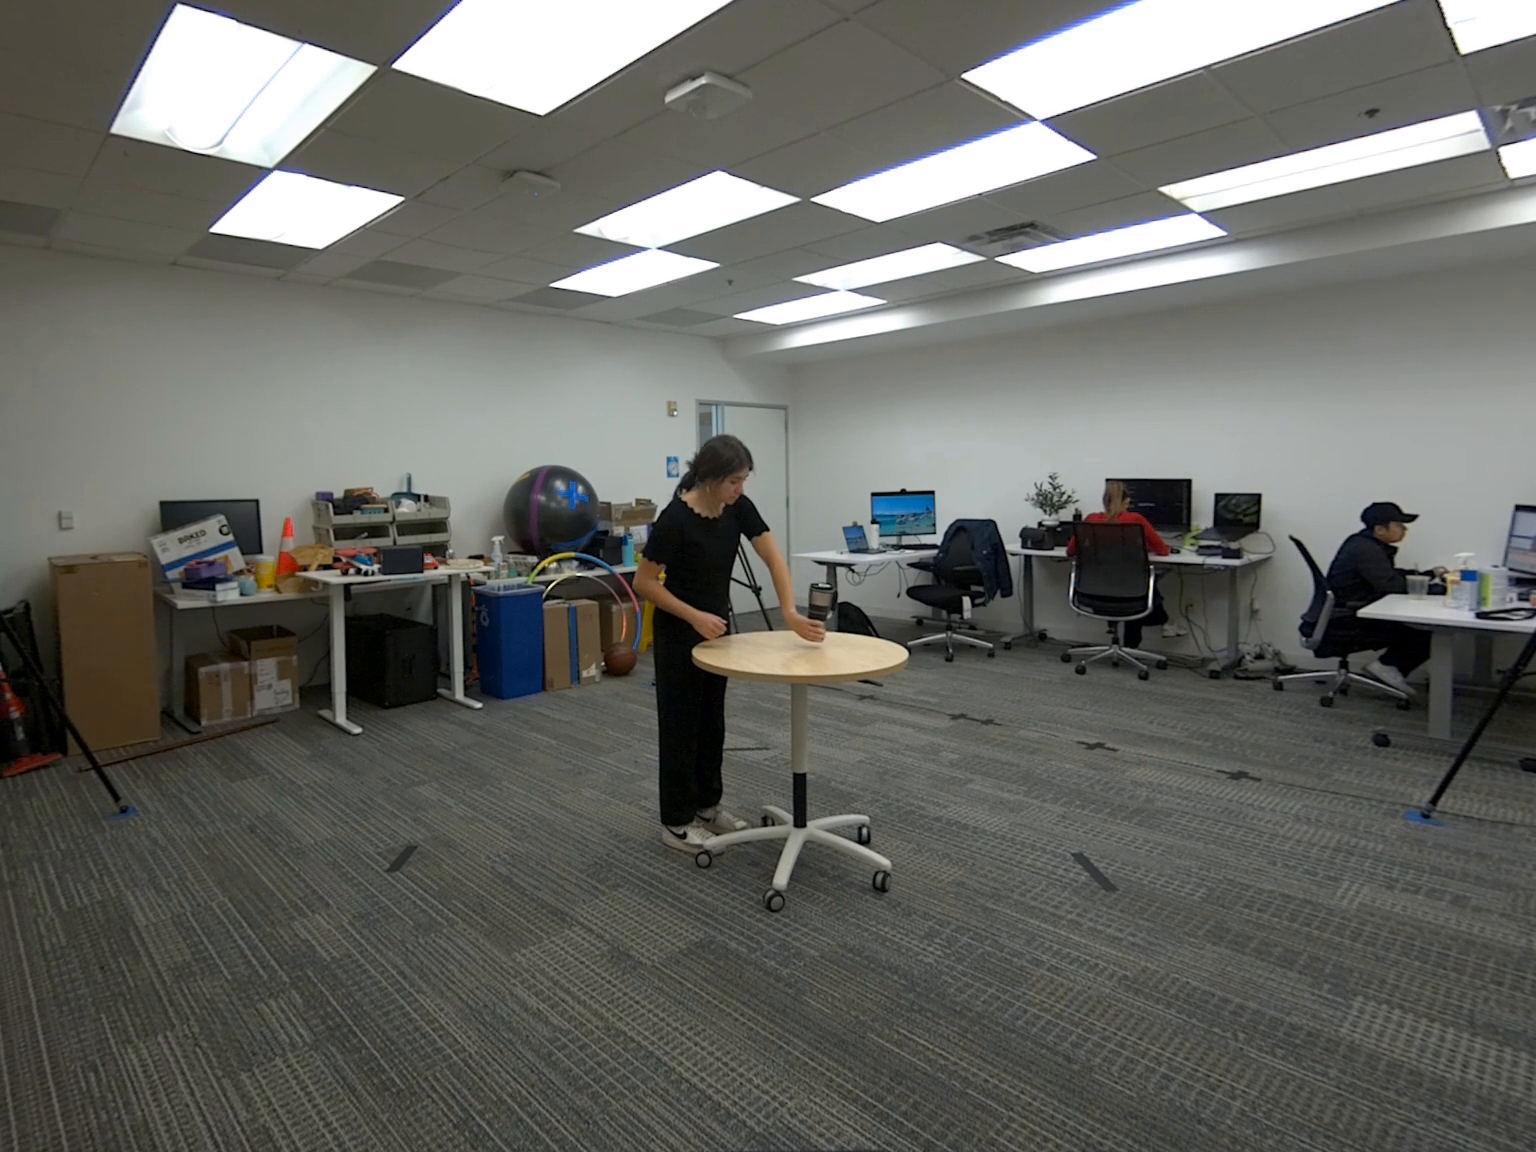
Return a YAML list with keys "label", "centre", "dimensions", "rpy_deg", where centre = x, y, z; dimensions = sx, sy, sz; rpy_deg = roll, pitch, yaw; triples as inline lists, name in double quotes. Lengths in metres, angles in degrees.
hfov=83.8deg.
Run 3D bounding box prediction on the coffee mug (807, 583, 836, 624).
- label: "coffee mug"
  centre: [0.201, 0.132, 3.080]
  dimensions: [0.121, 0.202, 0.089]
  rpy_deg: [5, 7, -5]
